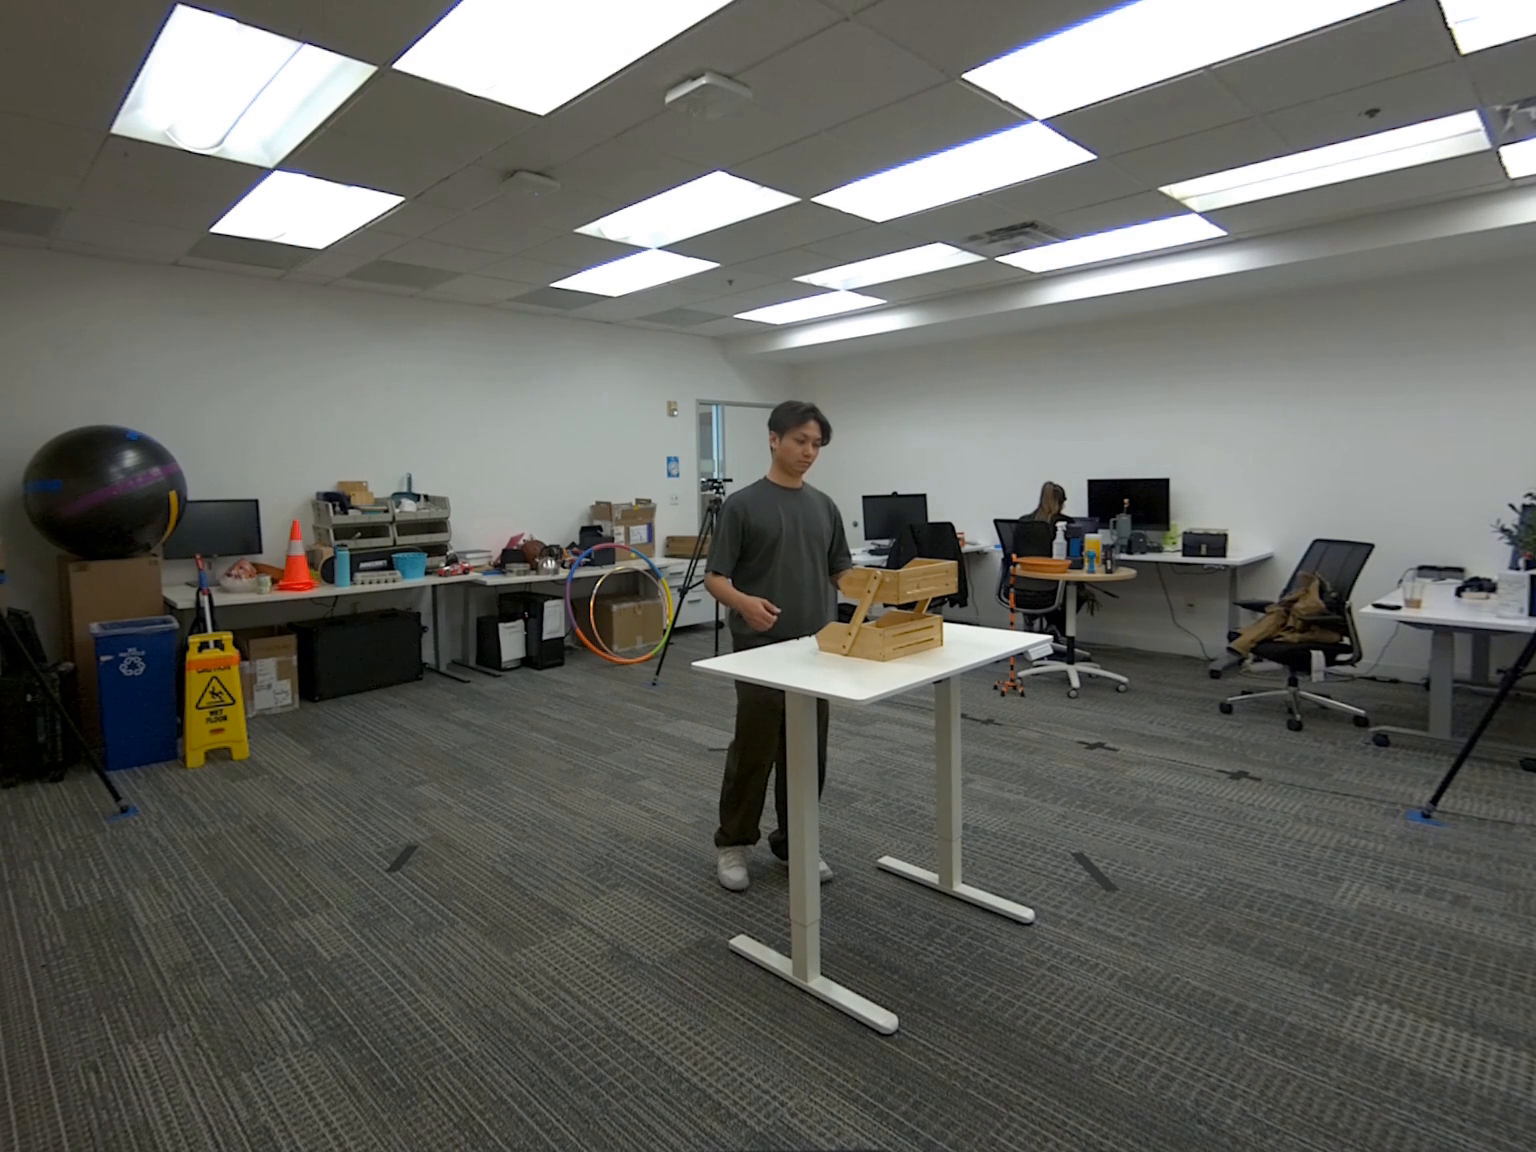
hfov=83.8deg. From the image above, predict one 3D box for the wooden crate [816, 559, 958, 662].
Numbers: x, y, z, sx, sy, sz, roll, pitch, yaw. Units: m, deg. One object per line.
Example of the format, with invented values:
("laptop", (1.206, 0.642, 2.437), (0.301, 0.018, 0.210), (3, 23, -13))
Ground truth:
("wooden crate", (0.356, 0.087, 2.539), (0.316, 0.272, 0.311), (-7, 8, -44))
